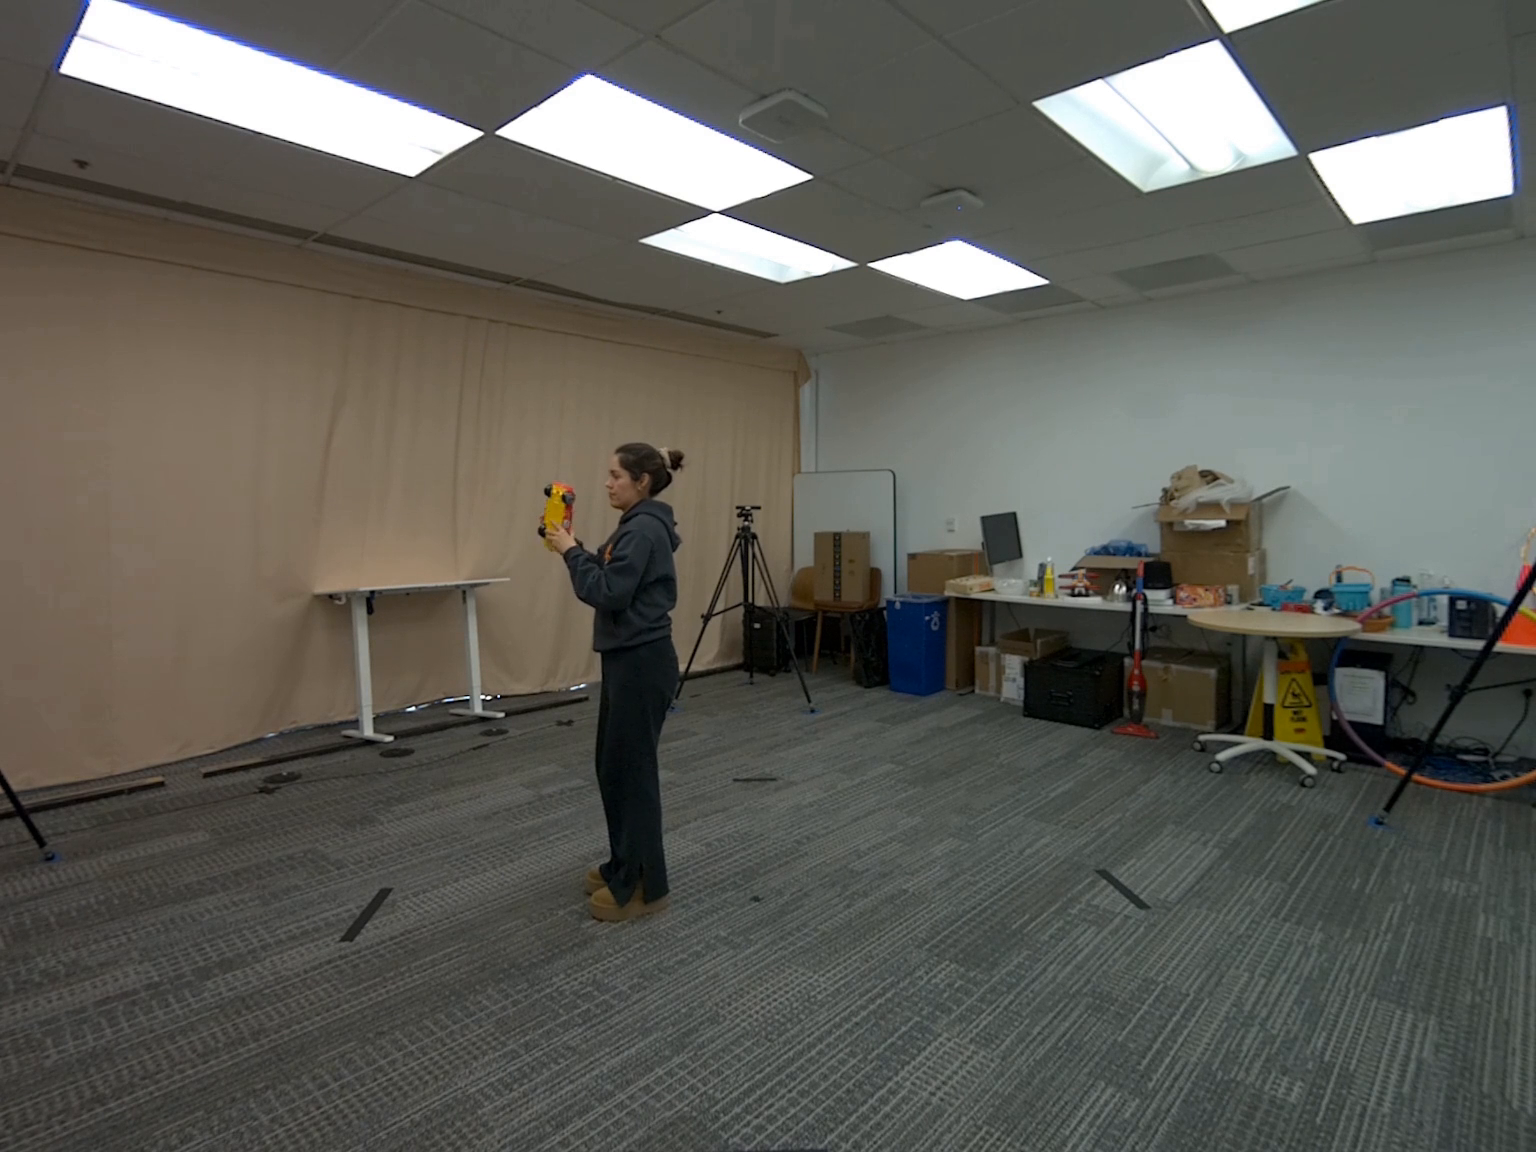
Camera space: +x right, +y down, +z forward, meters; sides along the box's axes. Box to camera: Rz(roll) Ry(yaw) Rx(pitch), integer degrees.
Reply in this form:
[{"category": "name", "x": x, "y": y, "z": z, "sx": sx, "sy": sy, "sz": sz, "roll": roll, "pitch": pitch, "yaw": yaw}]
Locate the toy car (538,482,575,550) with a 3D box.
[{"category": "toy car", "x": -0.732, "y": -0.184, "z": 2.961, "sx": 0.134, "sy": 0.251, "sz": 0.081, "roll": 19, "pitch": 27, "yaw": 29}]
